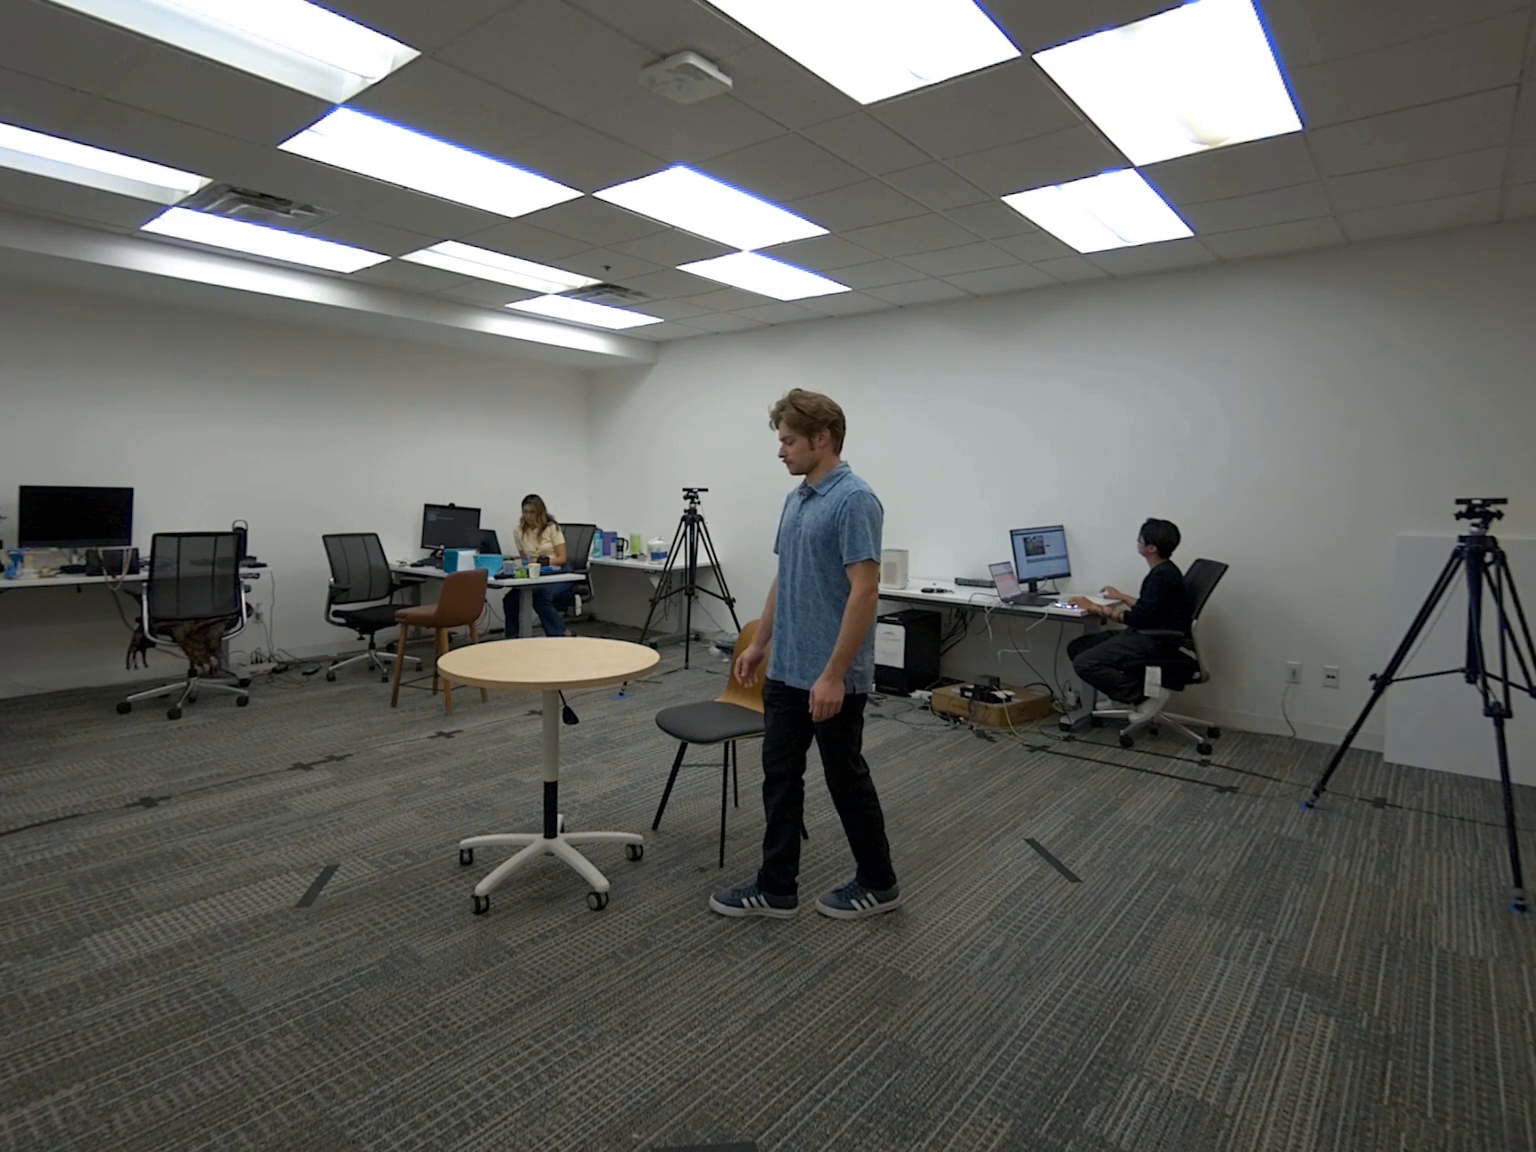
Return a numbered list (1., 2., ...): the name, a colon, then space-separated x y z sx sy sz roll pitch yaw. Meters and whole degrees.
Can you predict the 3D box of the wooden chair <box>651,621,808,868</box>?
1. wooden chair: -0.164 0.613 3.403 0.506 0.877 0.494 4 1 -41
